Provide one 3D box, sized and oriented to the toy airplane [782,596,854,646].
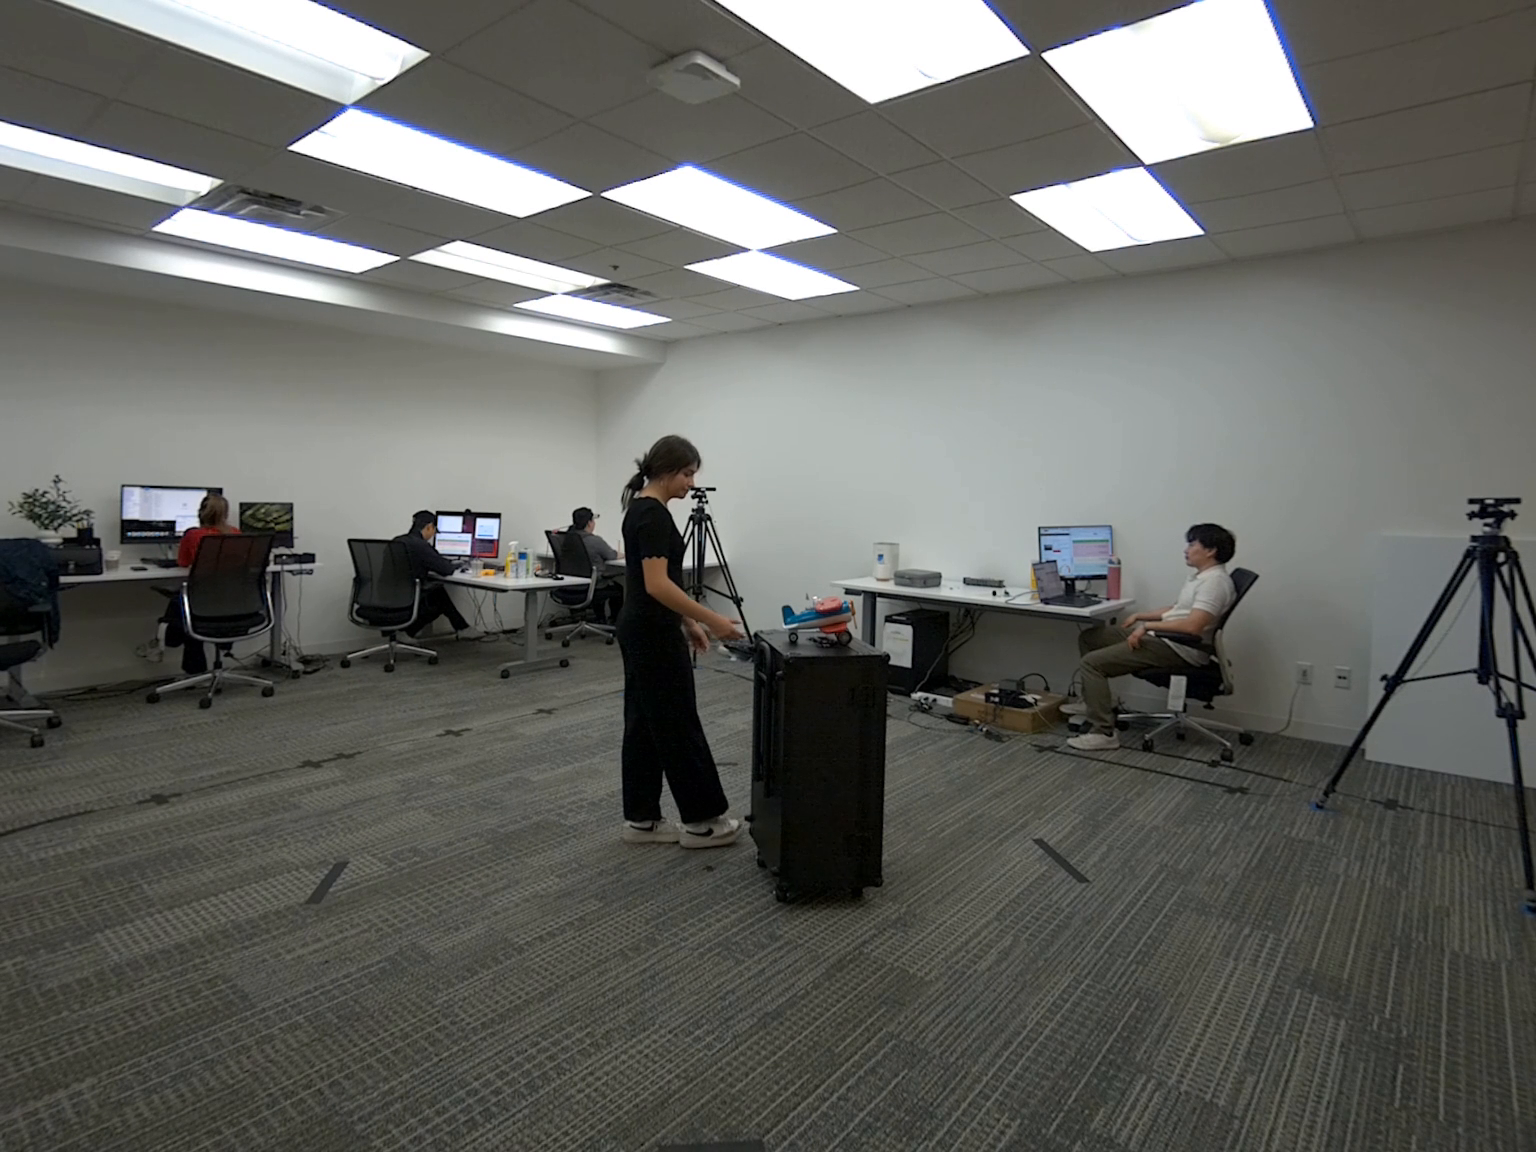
[{"bbox_3d":[0.181,0.158,3.003,0.253,0.156,0.258,-1,4,-27],"label":"toy airplane"}]
